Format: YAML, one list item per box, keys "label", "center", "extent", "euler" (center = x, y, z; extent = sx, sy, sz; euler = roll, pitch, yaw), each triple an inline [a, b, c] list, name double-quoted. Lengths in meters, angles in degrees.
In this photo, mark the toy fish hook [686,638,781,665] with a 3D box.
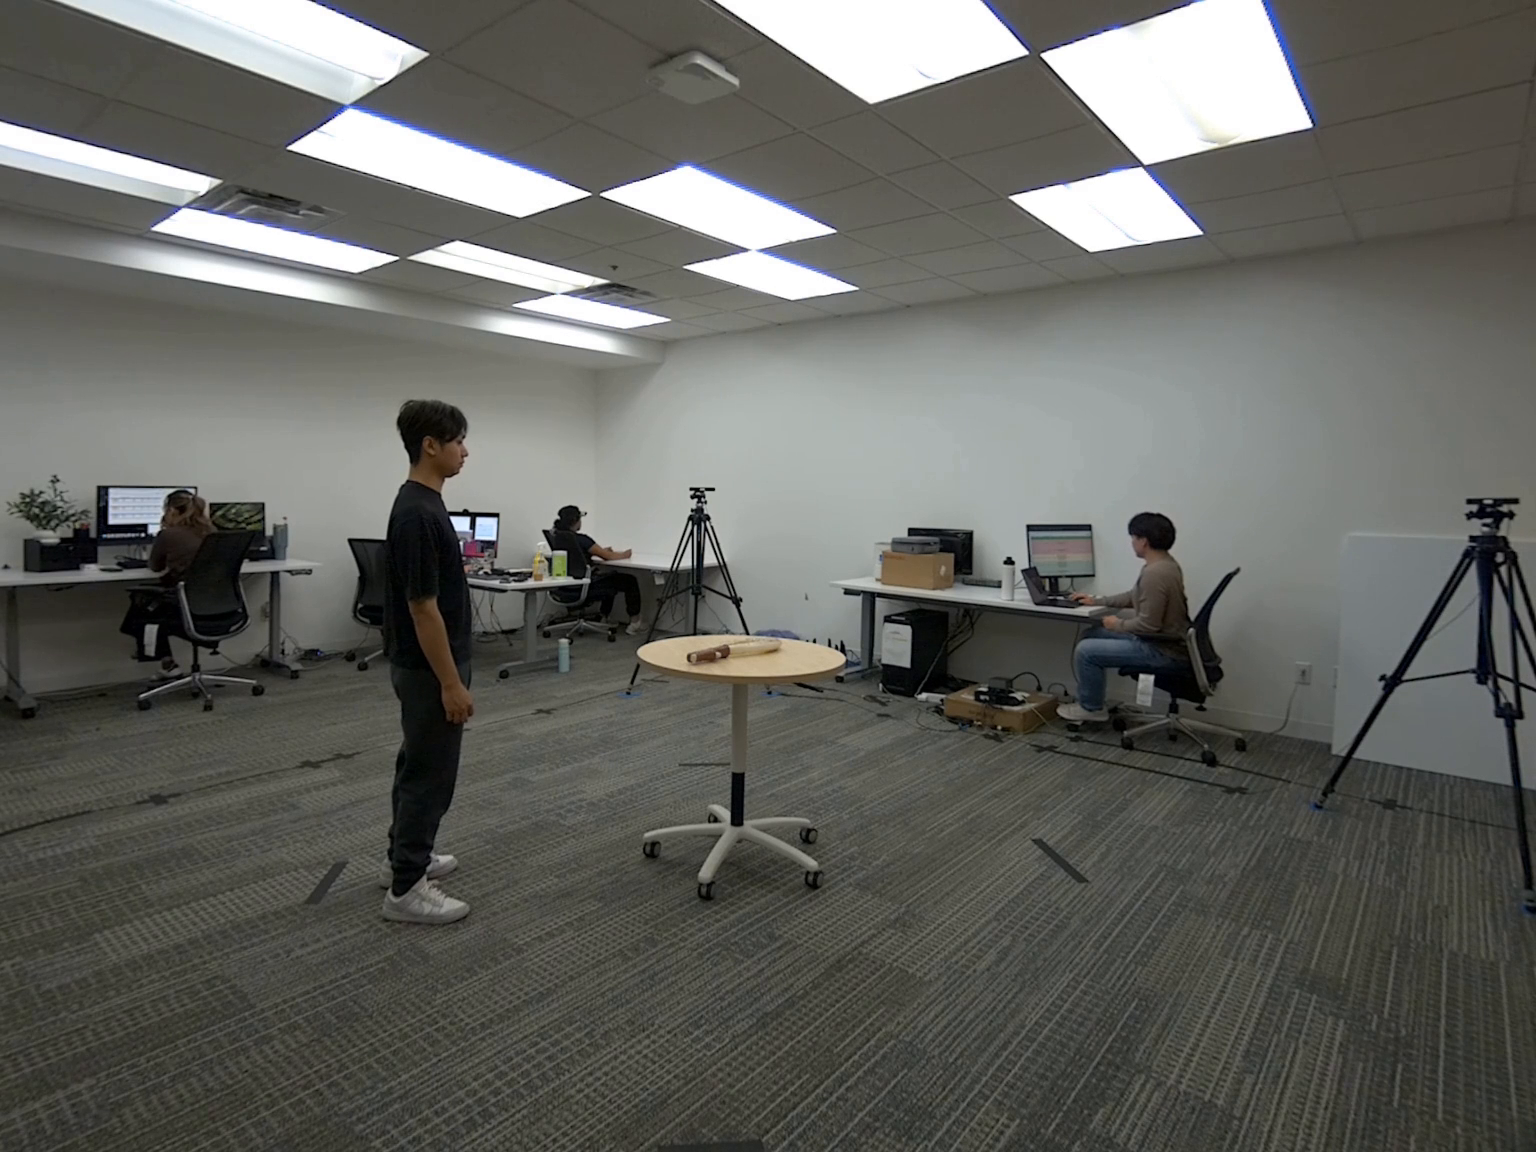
- label: "toy fish hook"
  center: [-0.162, 0.272, 3.123]
  extent: [0.231, 0.048, 0.491]
  euler: [-2, 1, 41]
